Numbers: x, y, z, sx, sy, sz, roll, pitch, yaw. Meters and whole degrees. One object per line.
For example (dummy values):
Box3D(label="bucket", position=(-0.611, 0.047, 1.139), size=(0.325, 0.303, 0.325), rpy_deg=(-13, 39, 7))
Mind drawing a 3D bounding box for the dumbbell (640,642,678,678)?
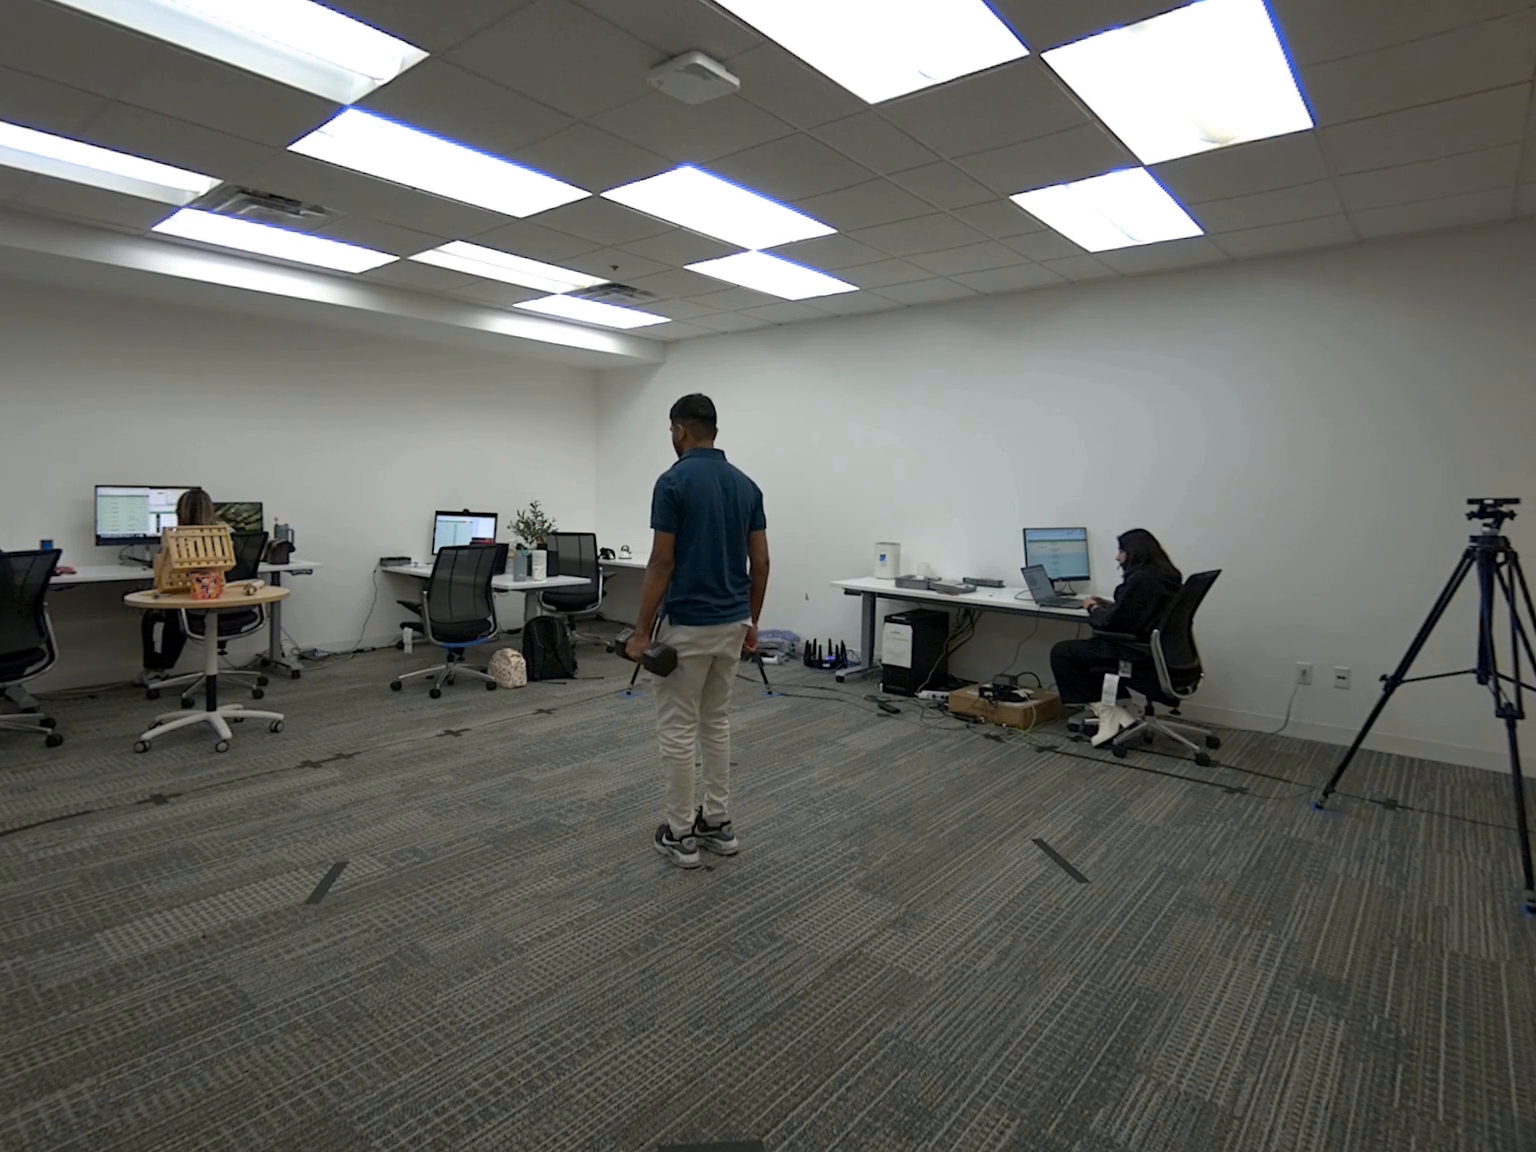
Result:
Box3D(label="dumbbell", position=(-0.454, 0.273, 3.109), size=(0.106, 0.121, 0.304), rpy_deg=(-9, 15, -36))
